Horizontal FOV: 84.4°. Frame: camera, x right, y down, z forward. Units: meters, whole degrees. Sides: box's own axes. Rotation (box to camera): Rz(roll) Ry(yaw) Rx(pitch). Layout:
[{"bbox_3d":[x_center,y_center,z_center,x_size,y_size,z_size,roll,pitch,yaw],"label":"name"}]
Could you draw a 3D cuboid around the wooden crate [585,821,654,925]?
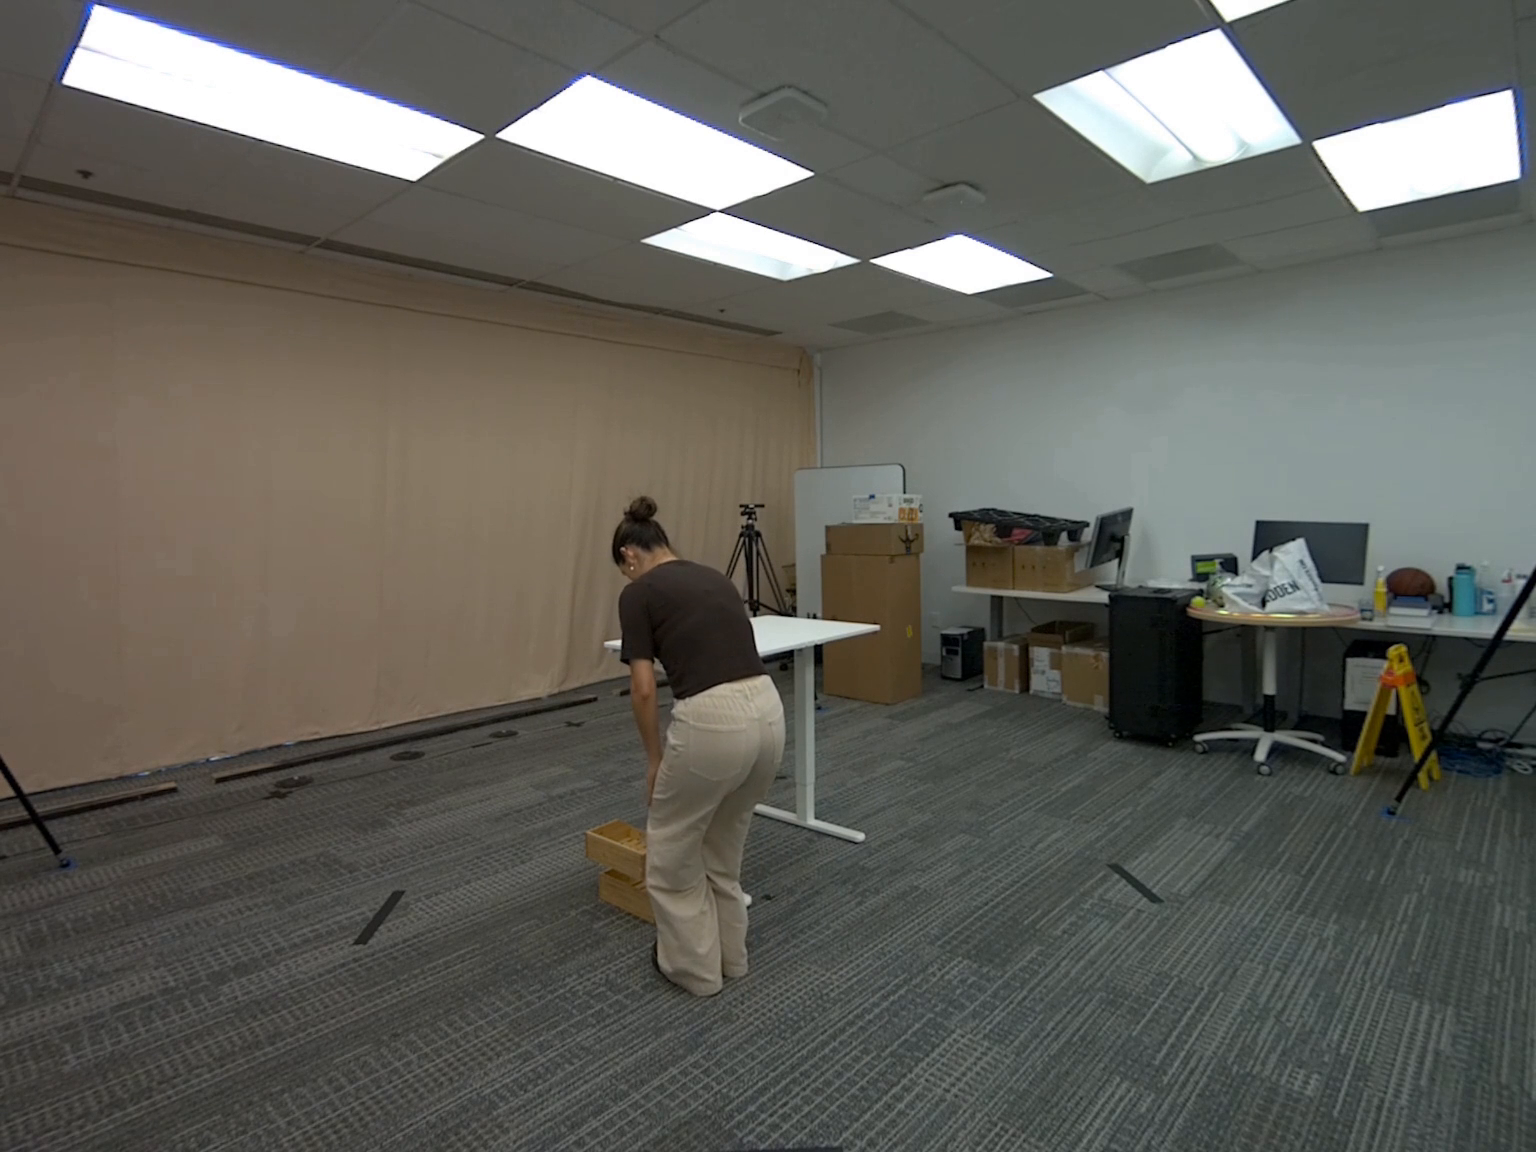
[{"bbox_3d":[-0.425,1.017,2.967,0.335,0.272,0.293,2,6,41],"label":"wooden crate"}]
